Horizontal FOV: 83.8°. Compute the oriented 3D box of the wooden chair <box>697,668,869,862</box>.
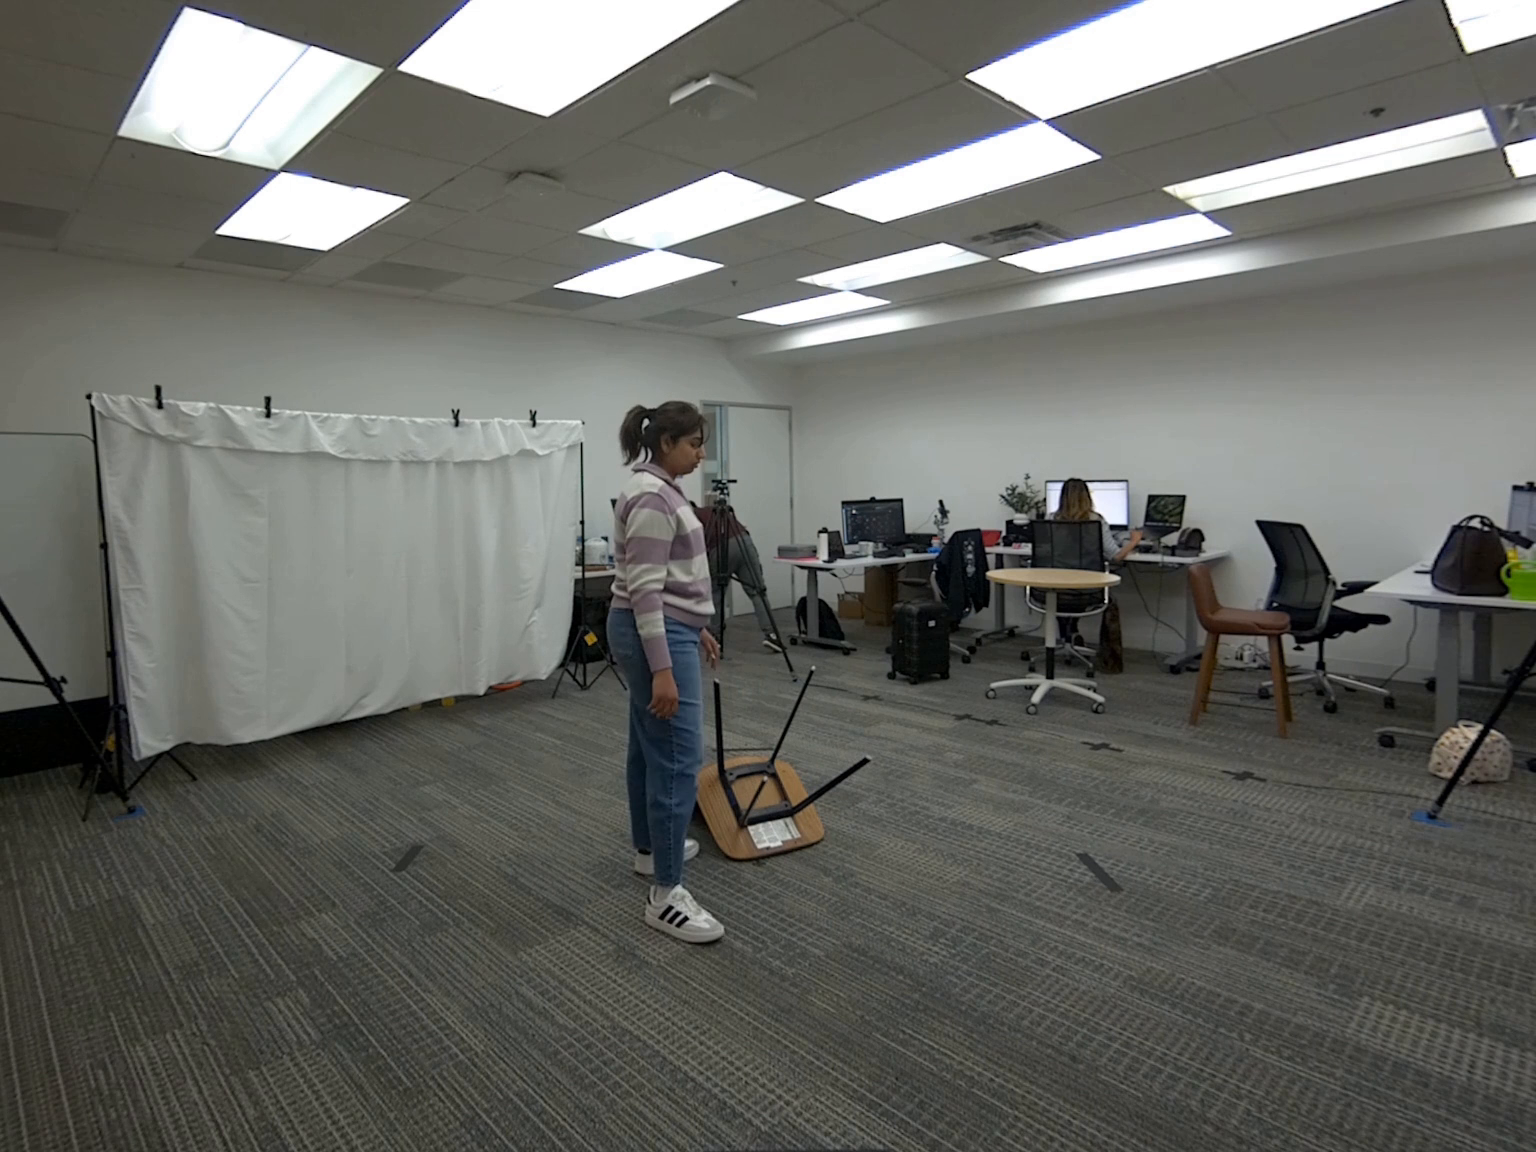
[{"bbox_3d":[-0.039,0.850,3.347,0.467,0.866,0.543,-3,46,-31],"label":"wooden chair"}]
